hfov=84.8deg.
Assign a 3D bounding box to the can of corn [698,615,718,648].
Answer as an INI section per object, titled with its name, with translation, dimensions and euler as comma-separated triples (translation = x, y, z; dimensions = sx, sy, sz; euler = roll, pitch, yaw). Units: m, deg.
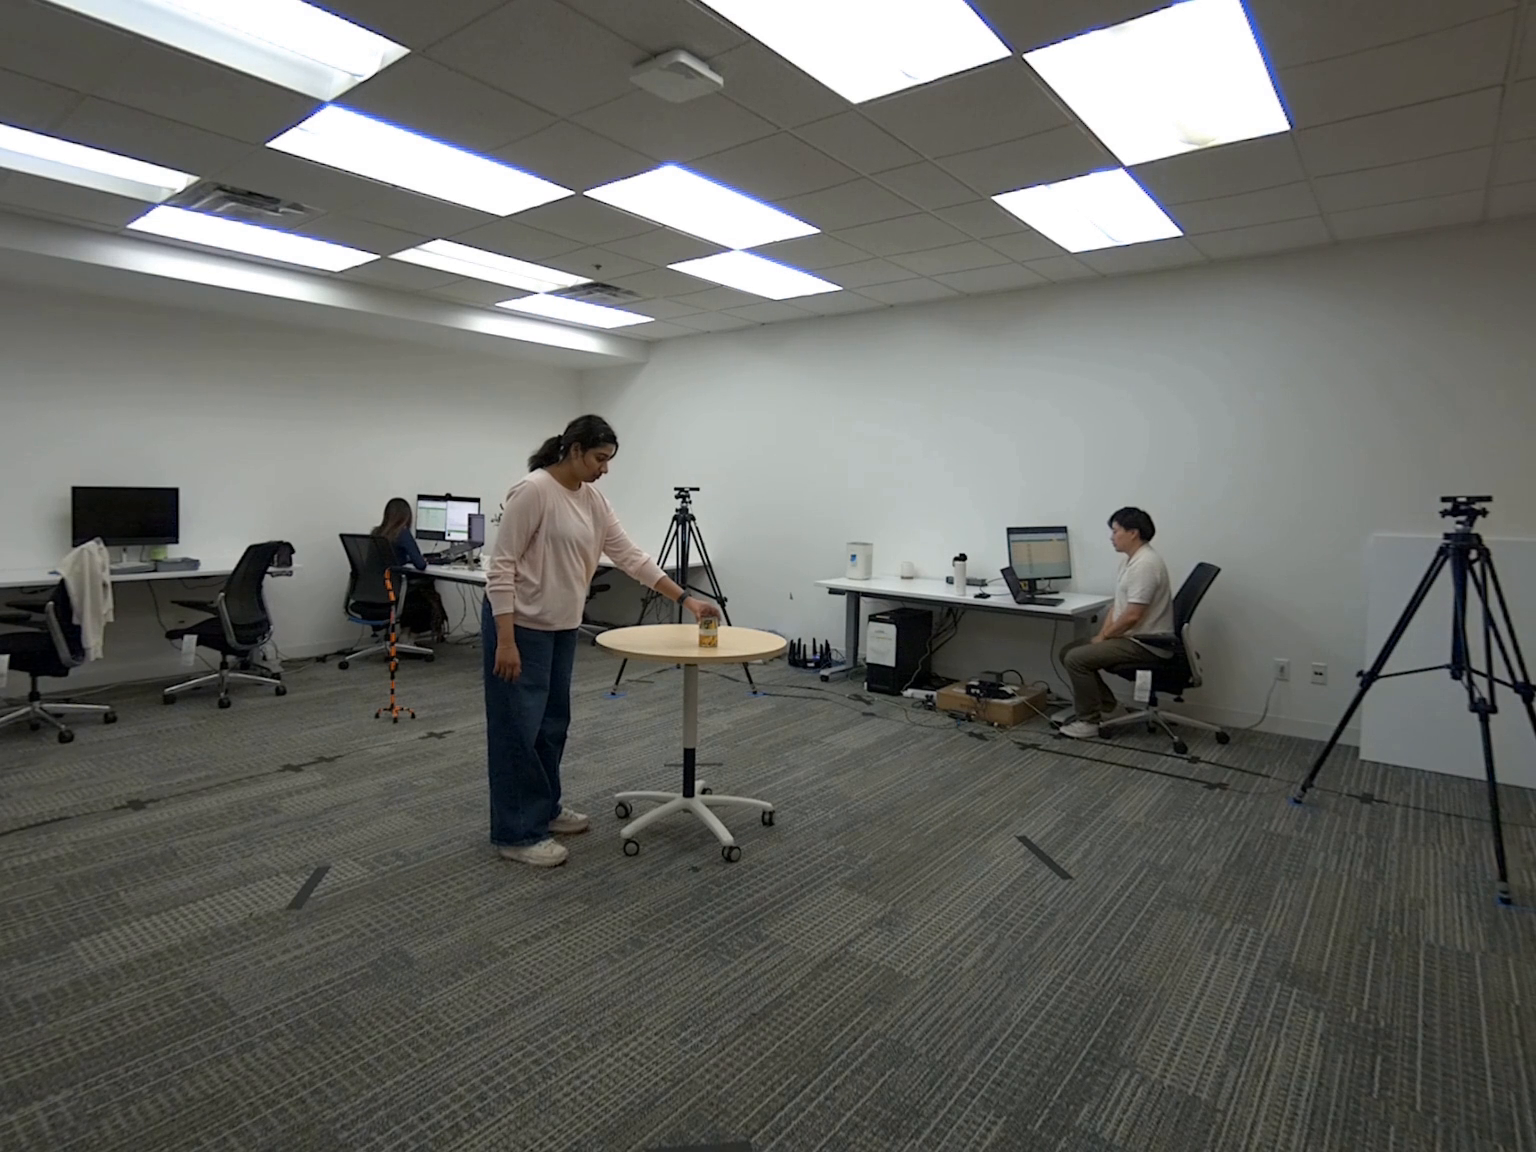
[can of corn]
translation = -0.241, 0.212, 3.270
dimensions = 0.074, 0.111, 0.074
euler = -2, 4, -2
